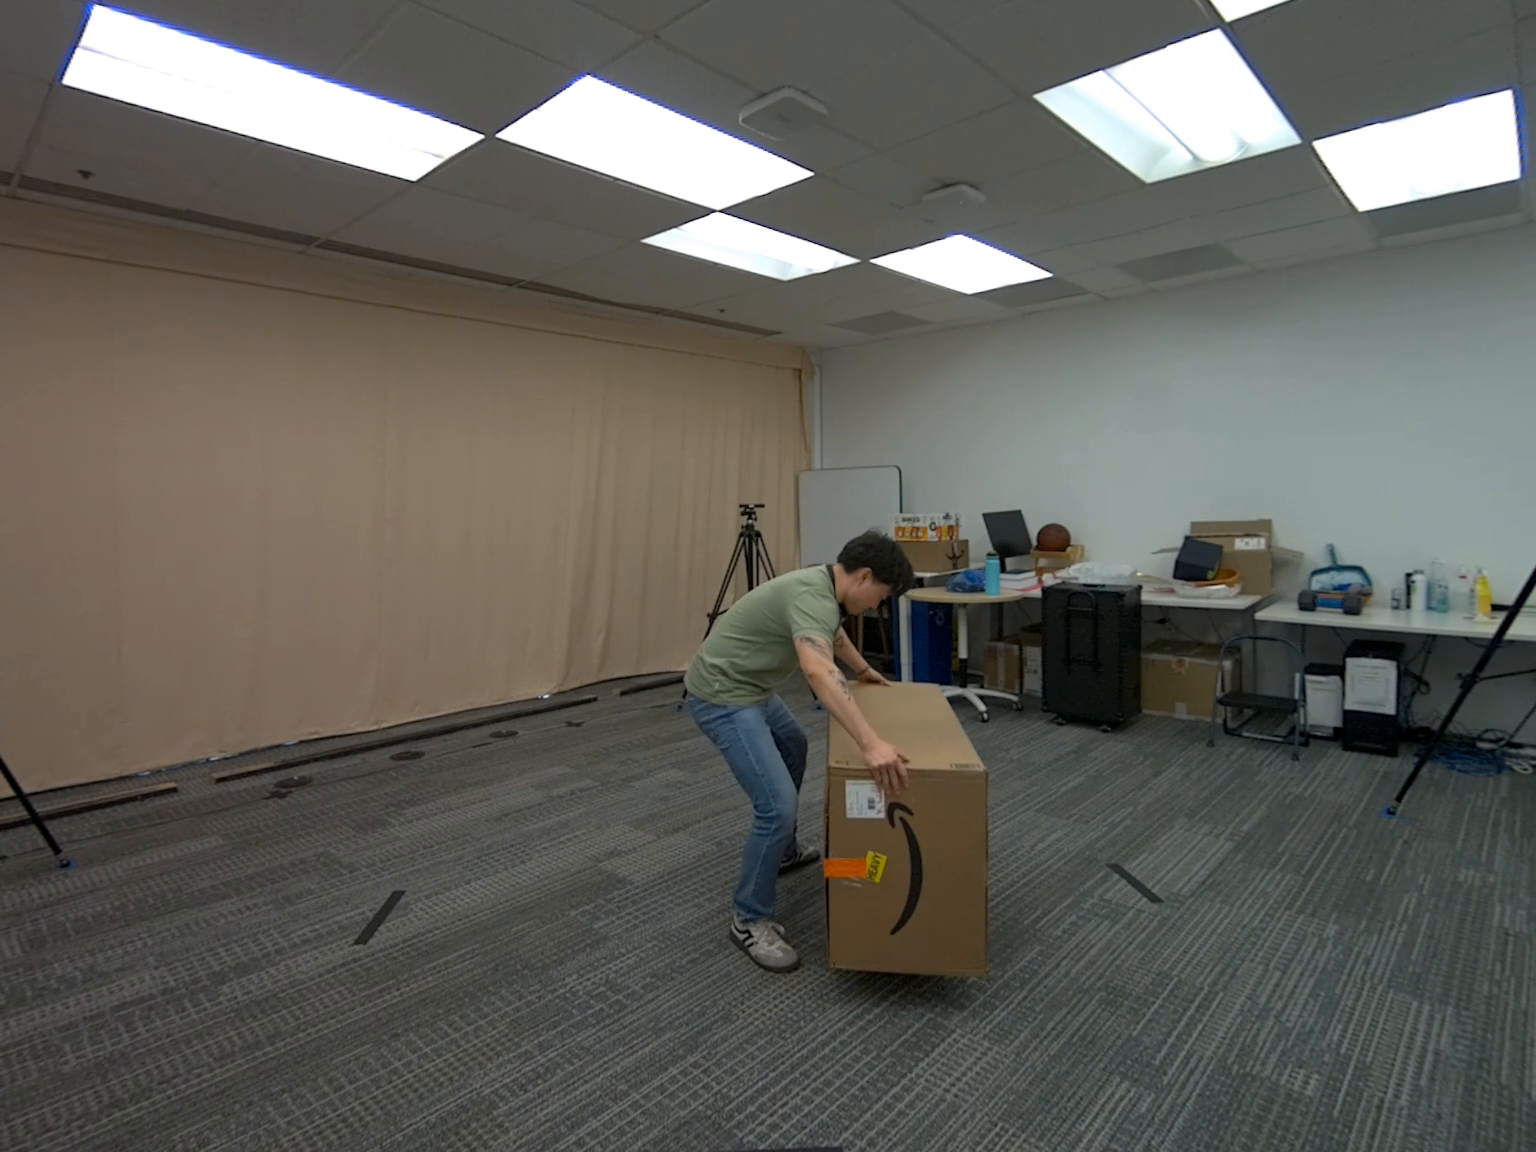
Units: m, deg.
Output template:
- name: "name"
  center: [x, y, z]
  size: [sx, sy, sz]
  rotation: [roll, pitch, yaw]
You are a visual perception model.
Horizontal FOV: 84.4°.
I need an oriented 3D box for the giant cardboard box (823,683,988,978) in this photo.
- name: "giant cardboard box"
  center: [0.422, 0.747, 2.782]
  size: [0.429, 0.576, 1.021]
  rotation: [-1, 5, 5]
